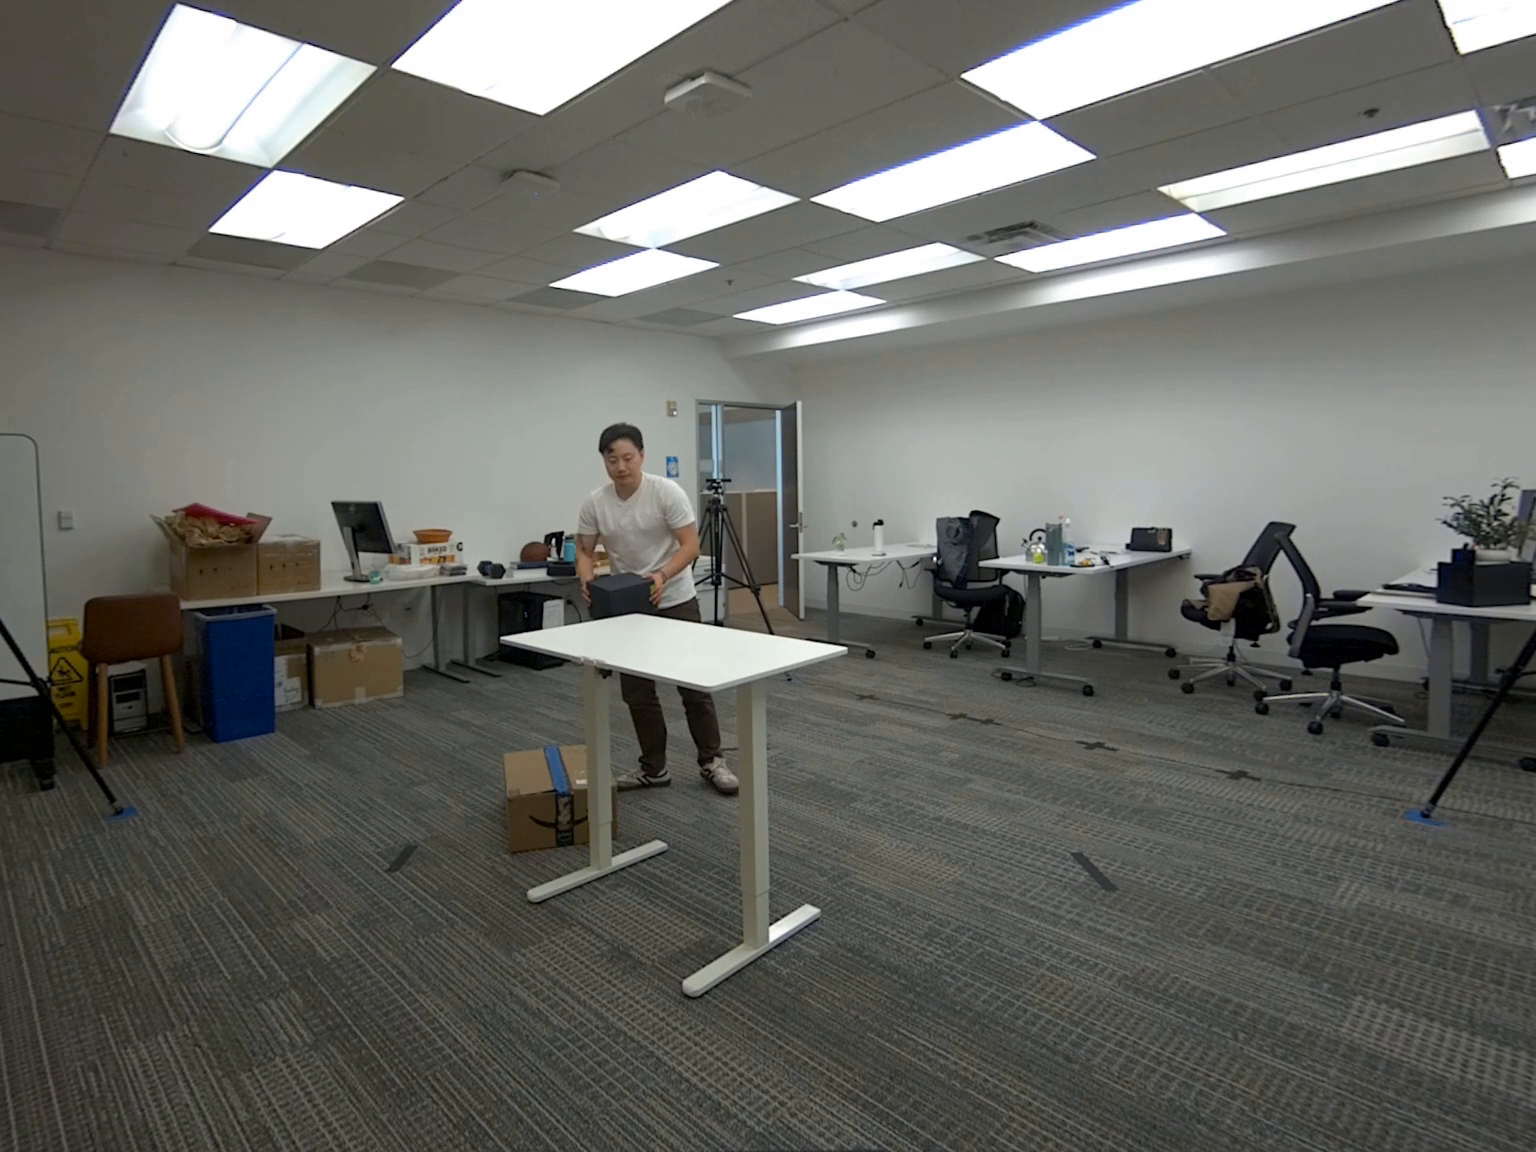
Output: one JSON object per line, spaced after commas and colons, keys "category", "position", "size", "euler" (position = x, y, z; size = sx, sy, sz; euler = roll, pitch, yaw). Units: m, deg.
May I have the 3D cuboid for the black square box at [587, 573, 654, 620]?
{"category": "black square box", "position": [-0.632, 0.099, 3.562], "size": [0.212, 0.154, 0.235], "euler": [-14, 15, -36]}
